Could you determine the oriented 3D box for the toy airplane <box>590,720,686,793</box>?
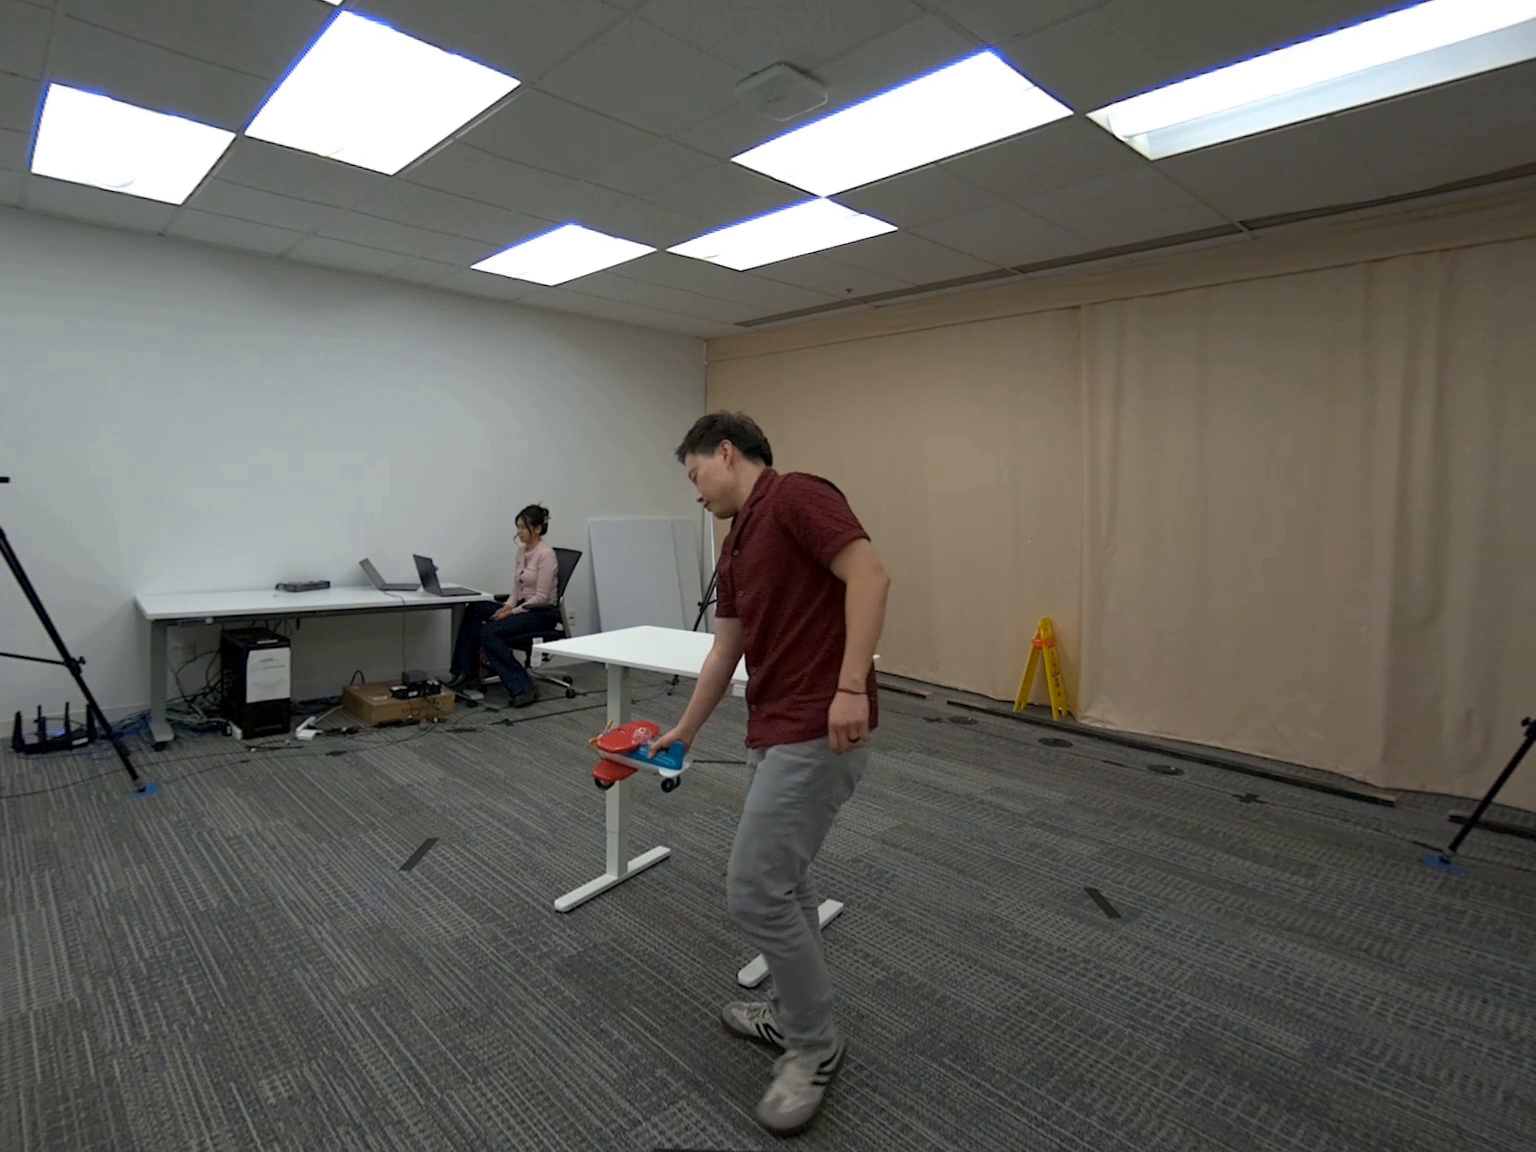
[{"bbox_3d":[-0.338,0.491,2.270,0.258,0.156,0.253,-5,4,-6],"label":"toy airplane"}]
